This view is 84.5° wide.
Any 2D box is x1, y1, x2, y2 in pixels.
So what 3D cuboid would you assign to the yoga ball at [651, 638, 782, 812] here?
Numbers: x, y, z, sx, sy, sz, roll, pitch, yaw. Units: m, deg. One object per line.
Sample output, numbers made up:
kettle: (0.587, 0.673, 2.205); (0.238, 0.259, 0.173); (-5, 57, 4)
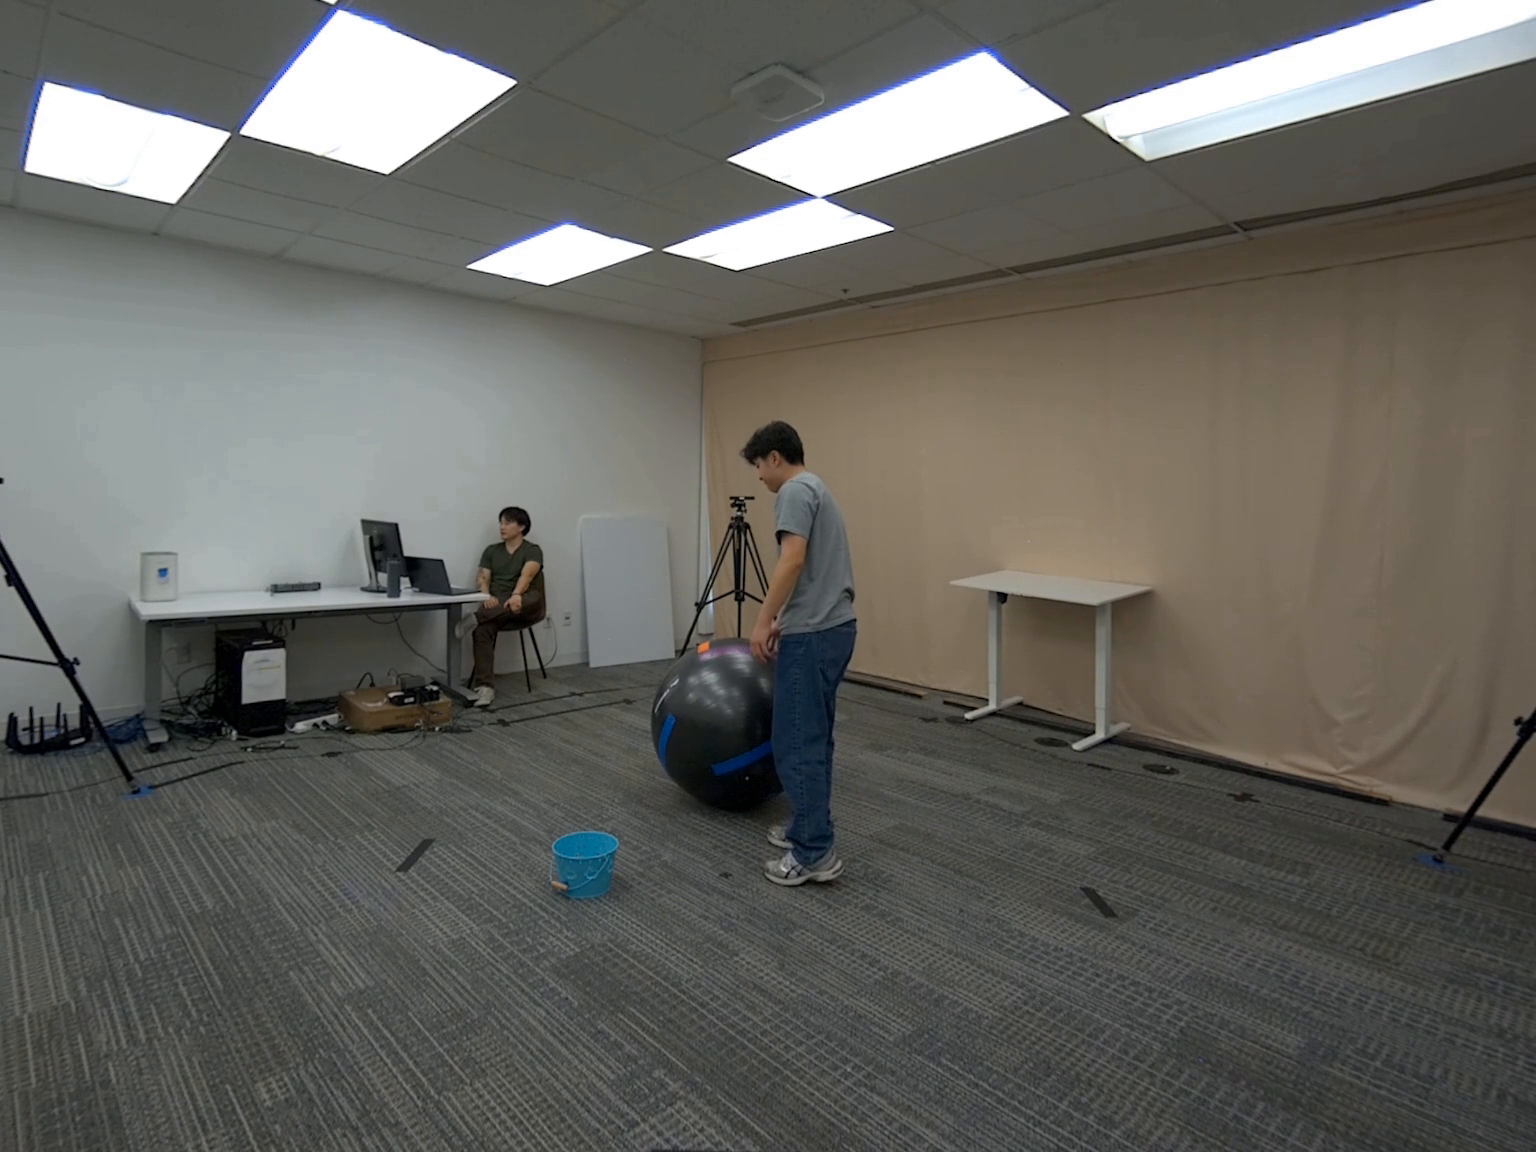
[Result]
yoga ball: (-0.161, 0.664, 3.860); (0.757, 0.756, 0.761); (1, 4, -1)
